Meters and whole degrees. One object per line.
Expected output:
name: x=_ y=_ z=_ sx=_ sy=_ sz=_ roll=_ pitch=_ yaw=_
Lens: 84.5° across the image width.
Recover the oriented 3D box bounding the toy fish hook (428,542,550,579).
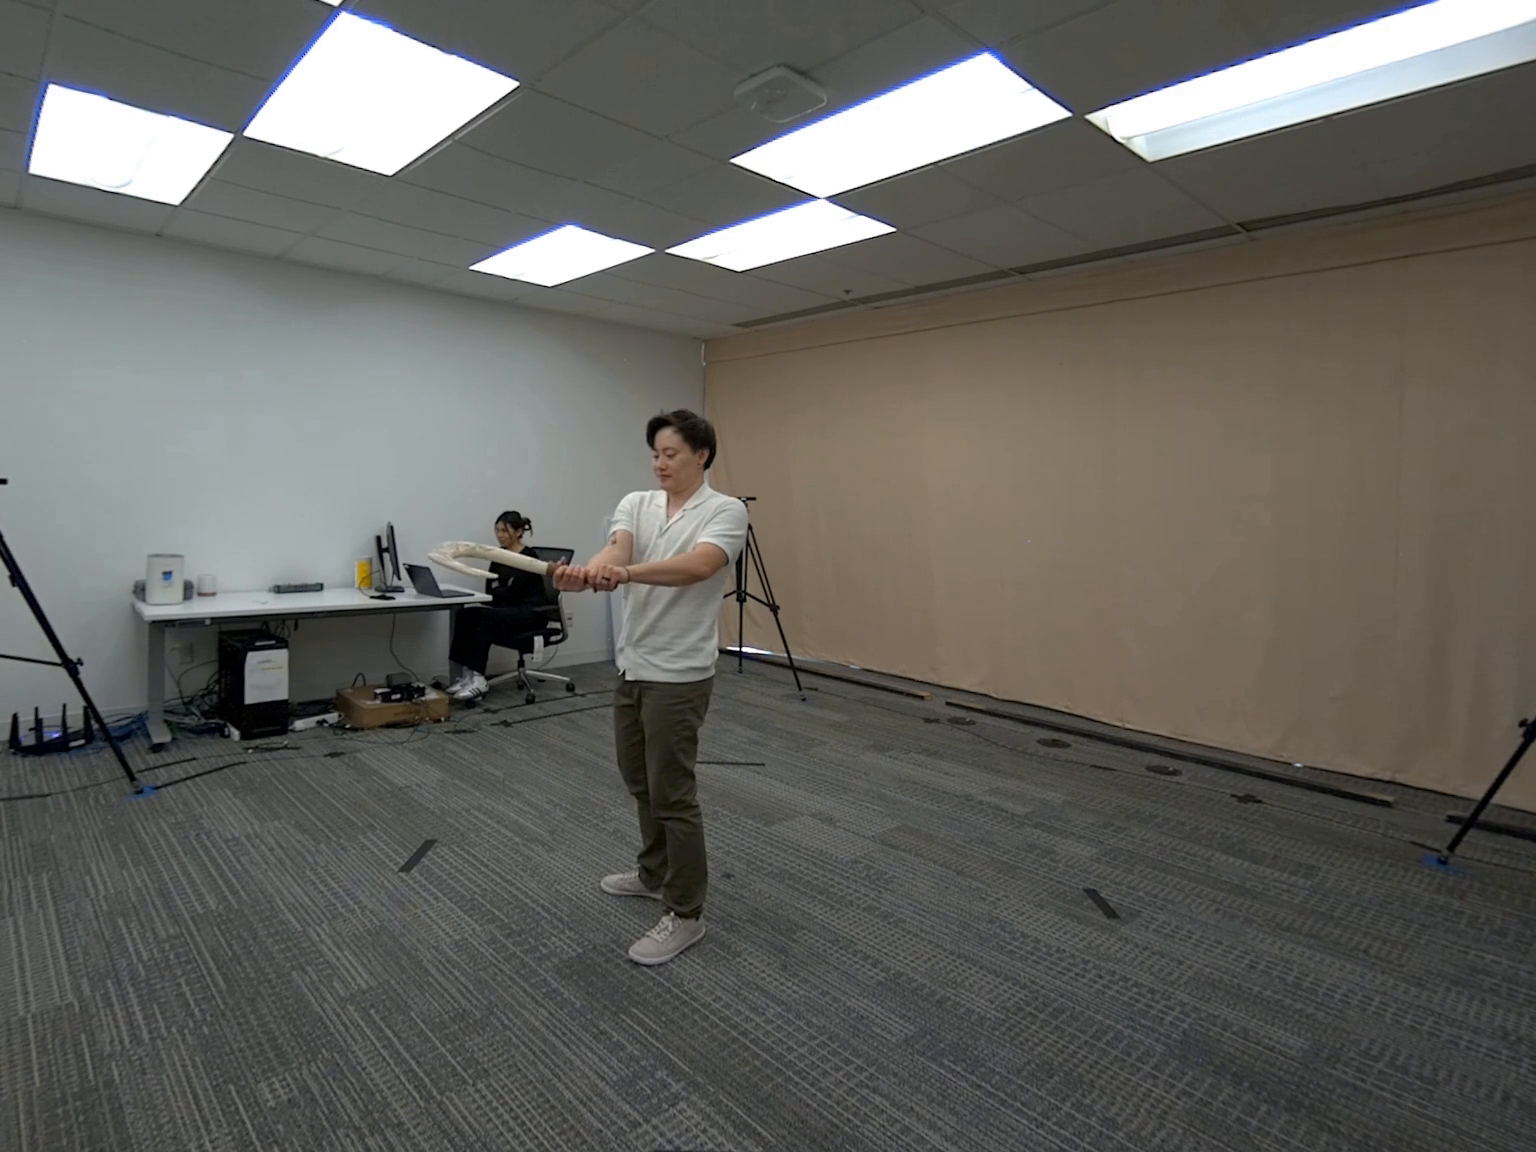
toy fish hook: x=-0.650 y=-0.009 z=2.302 sx=0.503 sy=0.048 sz=0.228 roll=12 pitch=19 yaw=-8
